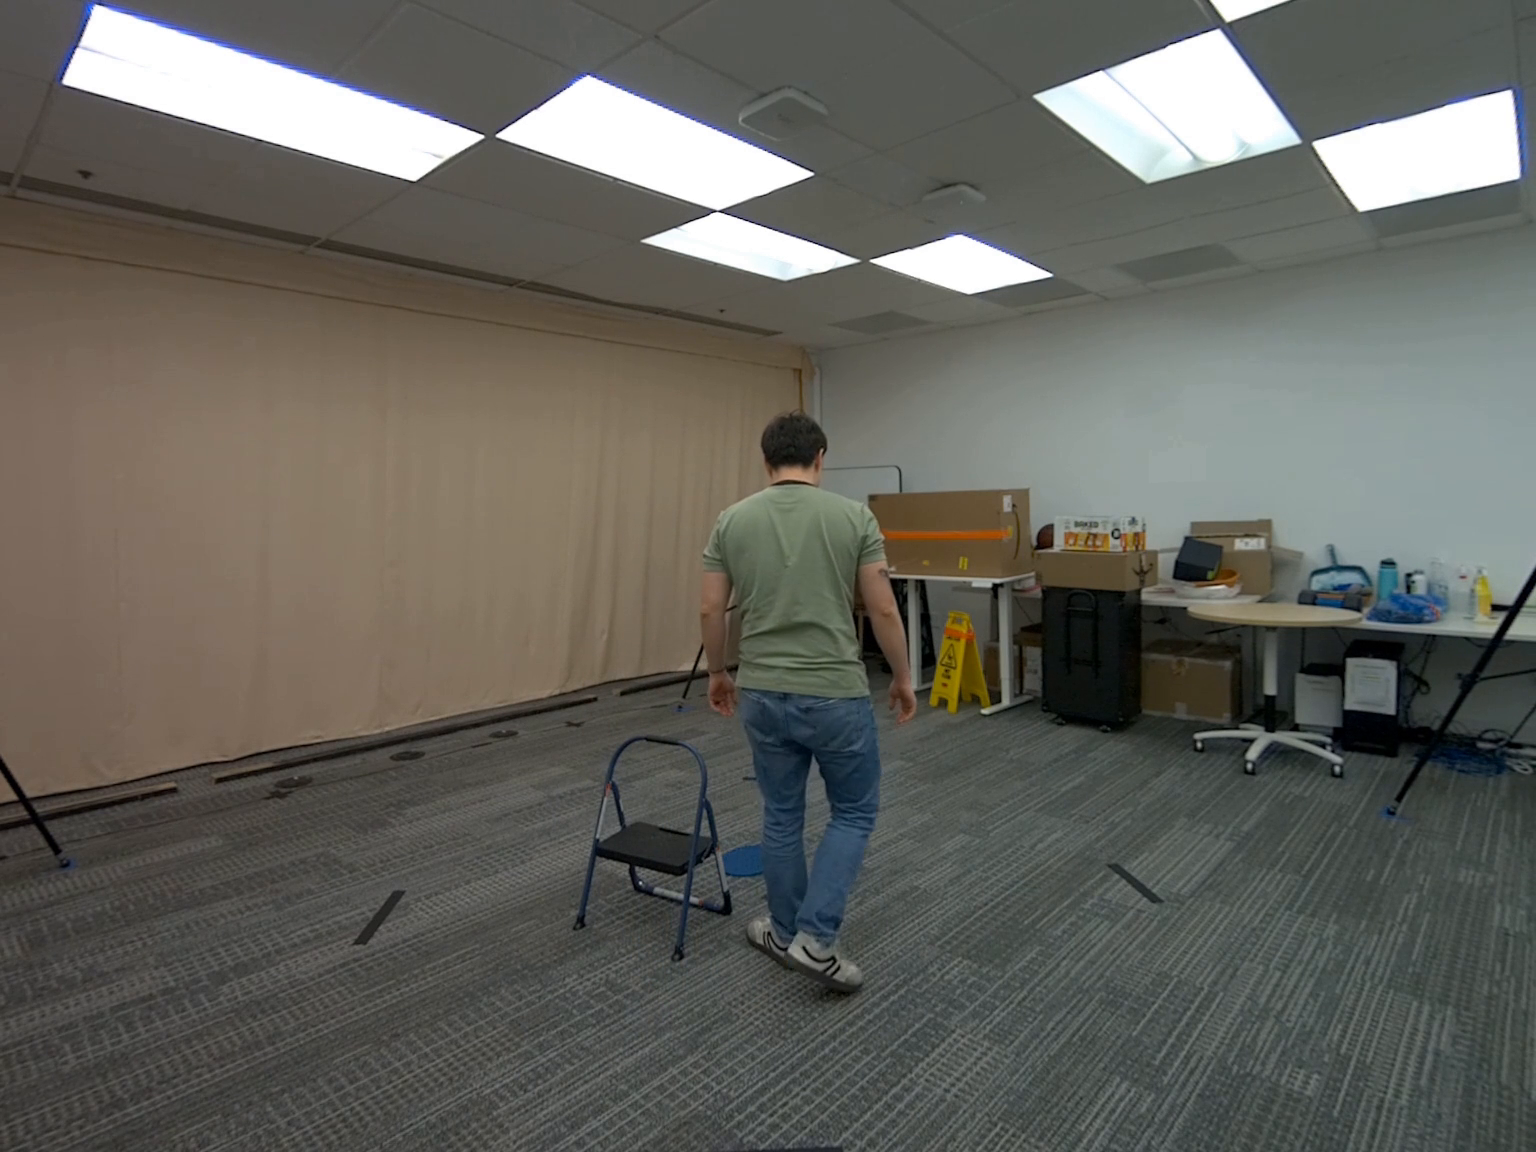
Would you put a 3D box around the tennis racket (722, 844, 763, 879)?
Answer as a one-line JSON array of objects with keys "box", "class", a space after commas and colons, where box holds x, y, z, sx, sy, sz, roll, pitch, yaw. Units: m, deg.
[{"box": [-0.036, 1.096, 3.341, 0.220, 0.031, 0.421, 2, 7, 31], "class": "tennis racket"}]
